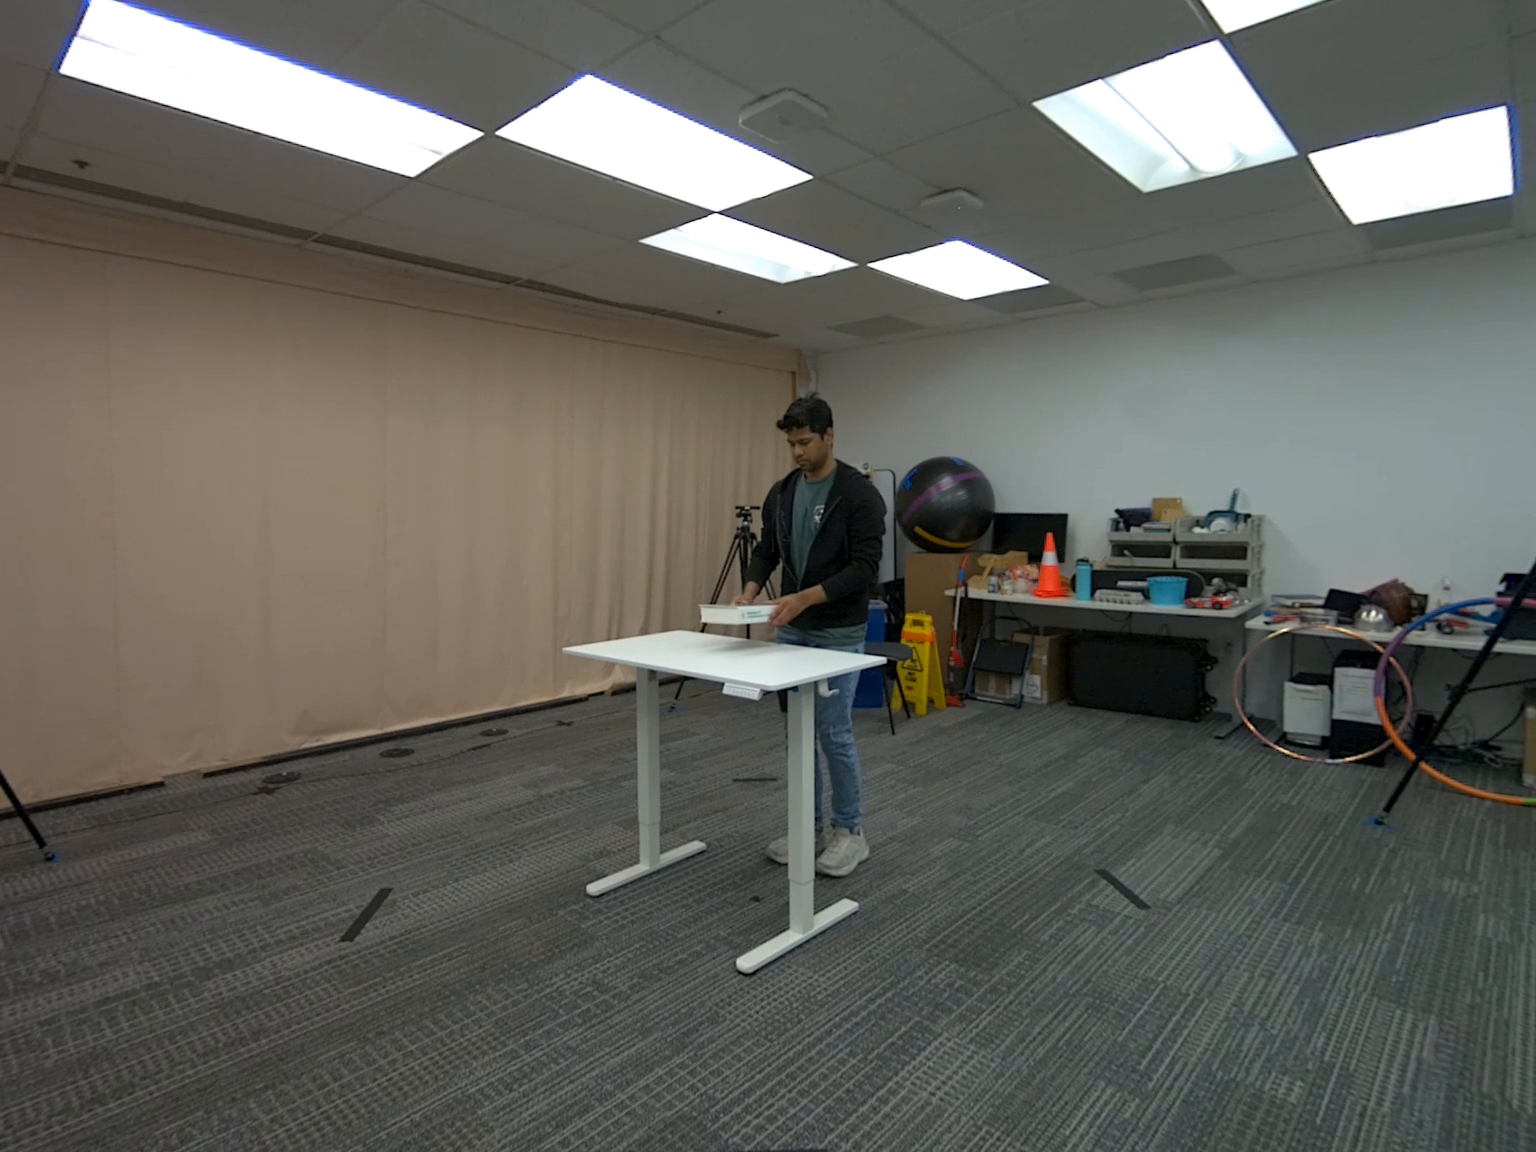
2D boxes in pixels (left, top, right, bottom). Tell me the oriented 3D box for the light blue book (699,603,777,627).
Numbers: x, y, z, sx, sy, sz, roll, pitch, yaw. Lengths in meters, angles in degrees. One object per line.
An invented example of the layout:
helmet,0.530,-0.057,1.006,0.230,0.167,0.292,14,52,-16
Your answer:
light blue book,-0.080,0.138,3.030,0.197,0.059,0.253,2,2,41
